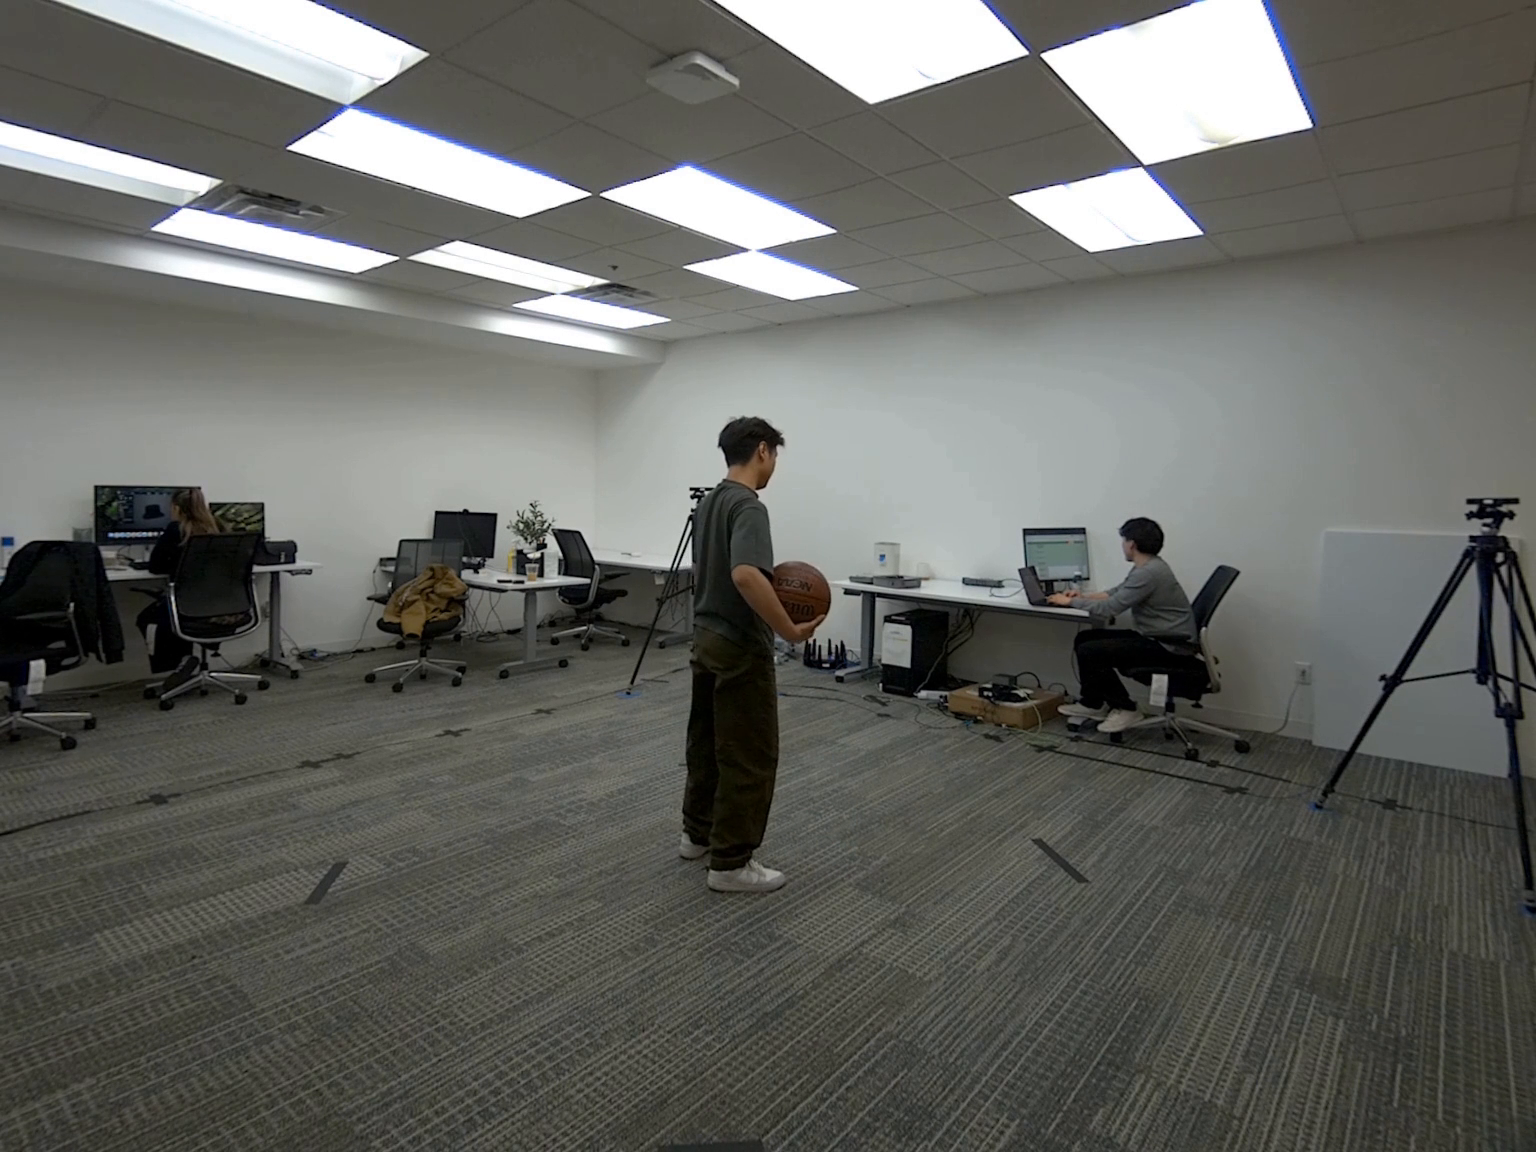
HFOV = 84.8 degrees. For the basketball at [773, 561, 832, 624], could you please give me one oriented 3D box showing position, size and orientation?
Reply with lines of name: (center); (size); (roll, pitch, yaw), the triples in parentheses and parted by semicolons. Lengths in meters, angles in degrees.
basketball: (0.074, 0.077, 2.794); (0.235, 0.235, 0.237); (1, 4, -2)
